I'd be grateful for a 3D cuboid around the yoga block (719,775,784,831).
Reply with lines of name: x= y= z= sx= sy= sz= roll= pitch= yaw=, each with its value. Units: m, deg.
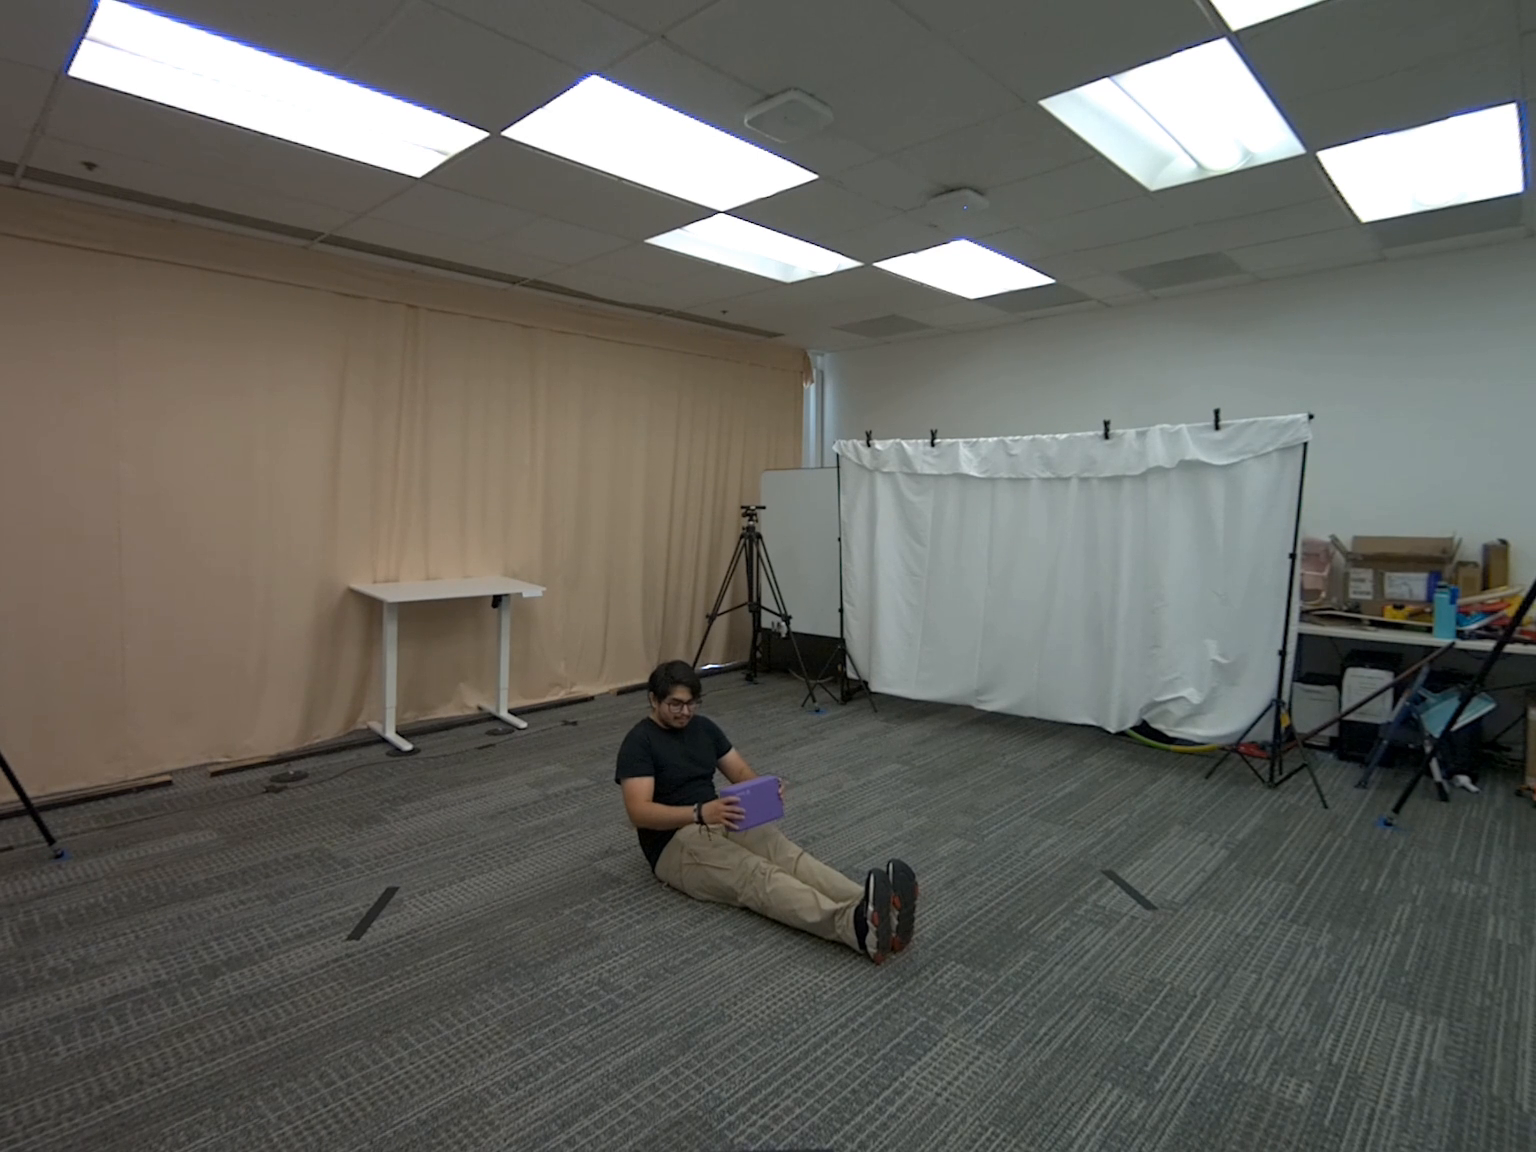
yoga block: x=-0.061 y=0.807 z=2.971 sx=0.222 sy=0.150 sz=0.078 roll=-5 pitch=-7 yaw=-38
